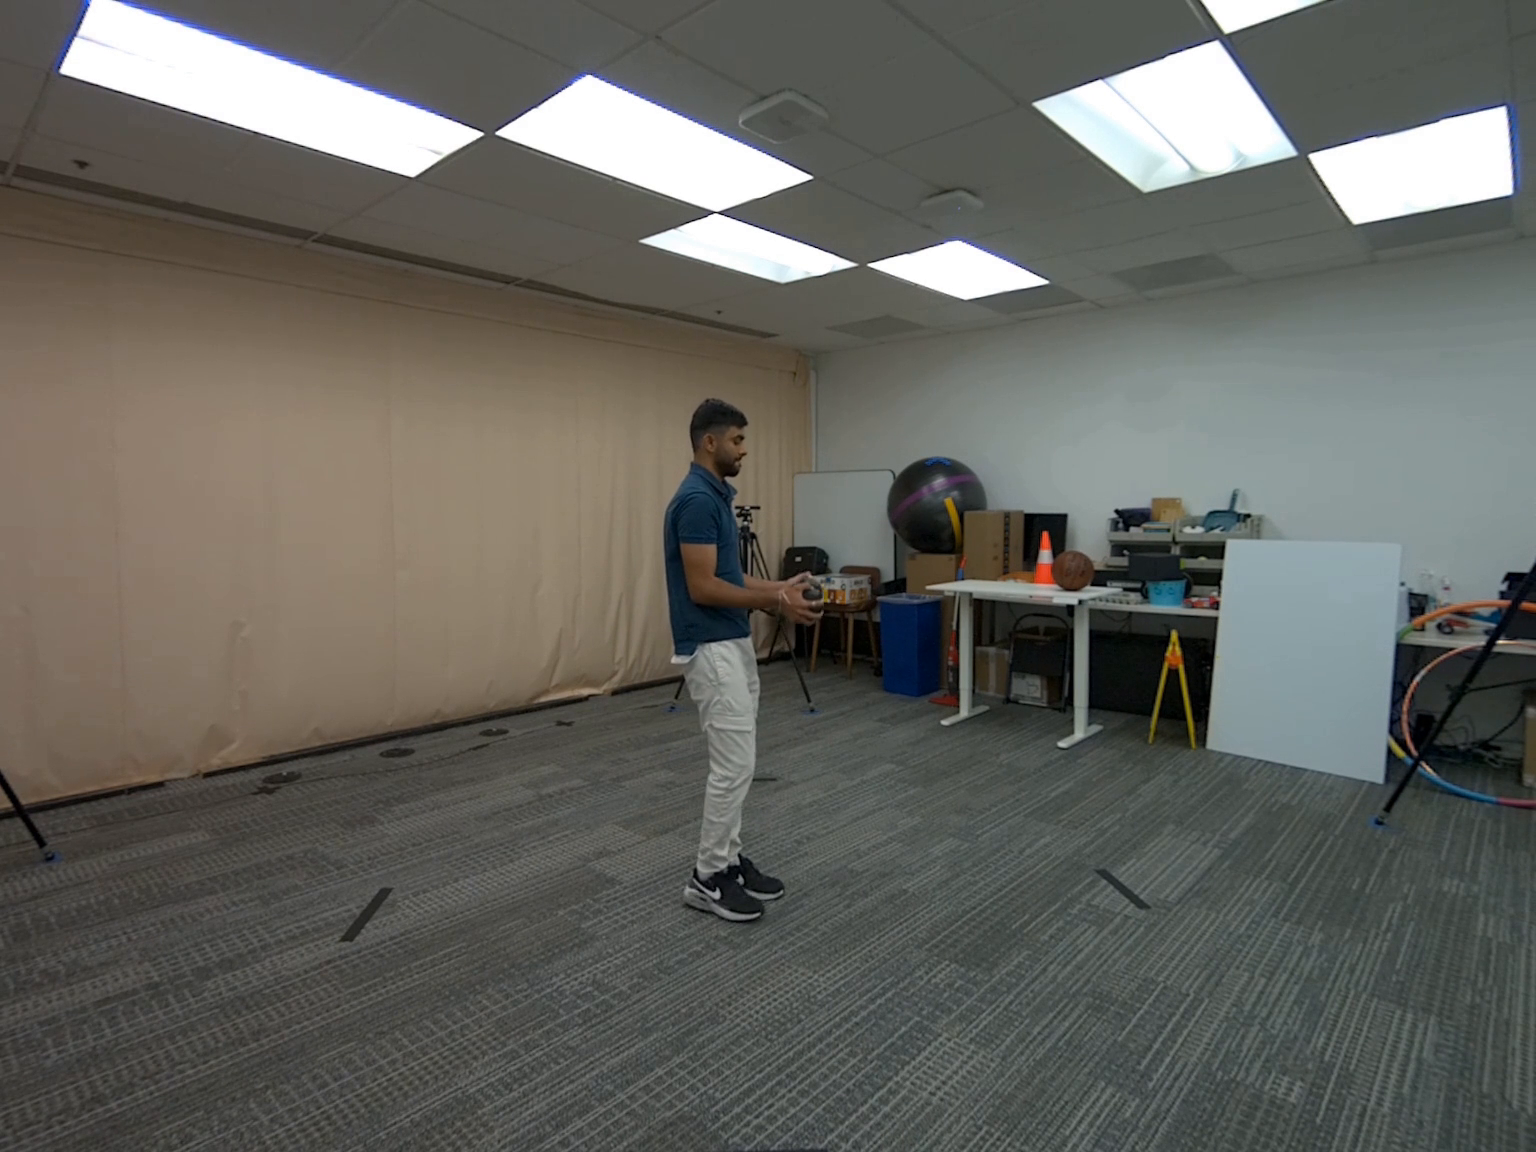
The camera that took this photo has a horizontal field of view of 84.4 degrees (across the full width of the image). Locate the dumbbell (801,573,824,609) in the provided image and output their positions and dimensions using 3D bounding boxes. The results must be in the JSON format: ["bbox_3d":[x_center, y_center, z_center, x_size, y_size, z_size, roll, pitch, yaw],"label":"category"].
[{"bbox_3d":[0.117,0.088,2.911,0.123,0.108,0.294,-37,6,4],"label":"dumbbell"}]
